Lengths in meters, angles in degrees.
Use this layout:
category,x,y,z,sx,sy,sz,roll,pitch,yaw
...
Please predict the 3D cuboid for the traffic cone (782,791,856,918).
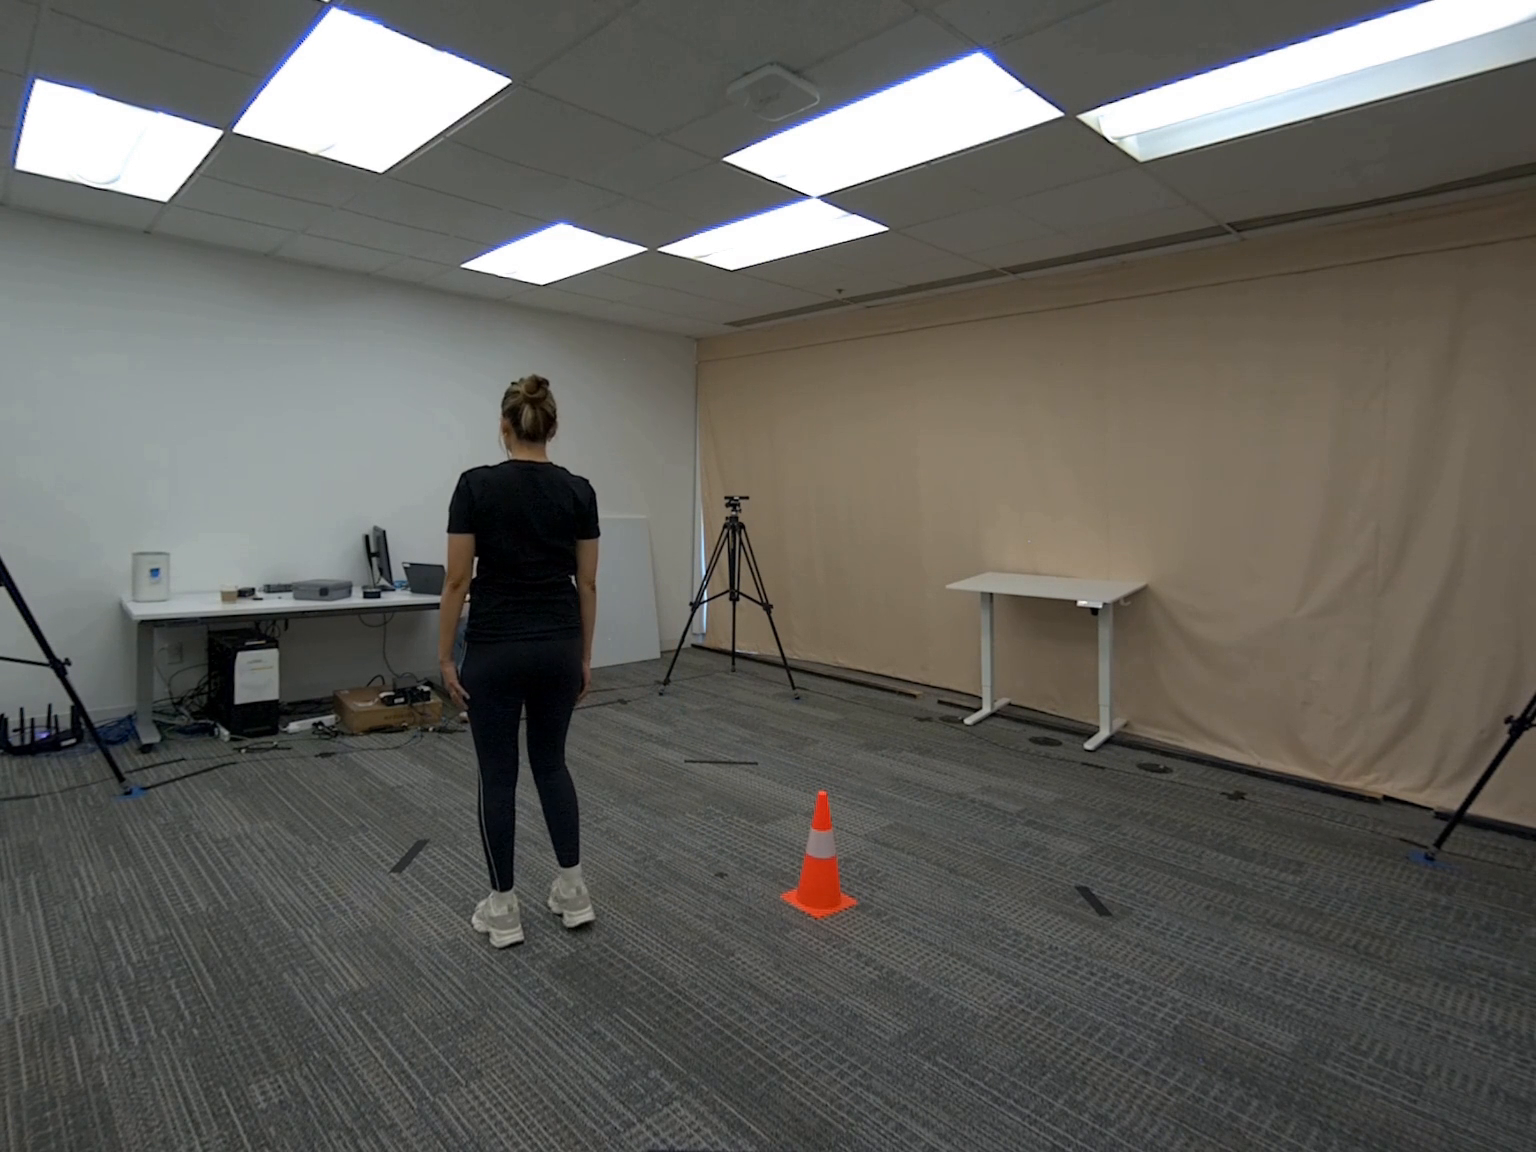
category,x,y,z,sx,sy,sz,roll,pitch,yaw
traffic cone,0.173,0.945,2.920,0.201,0.382,0.208,-2,5,-34
